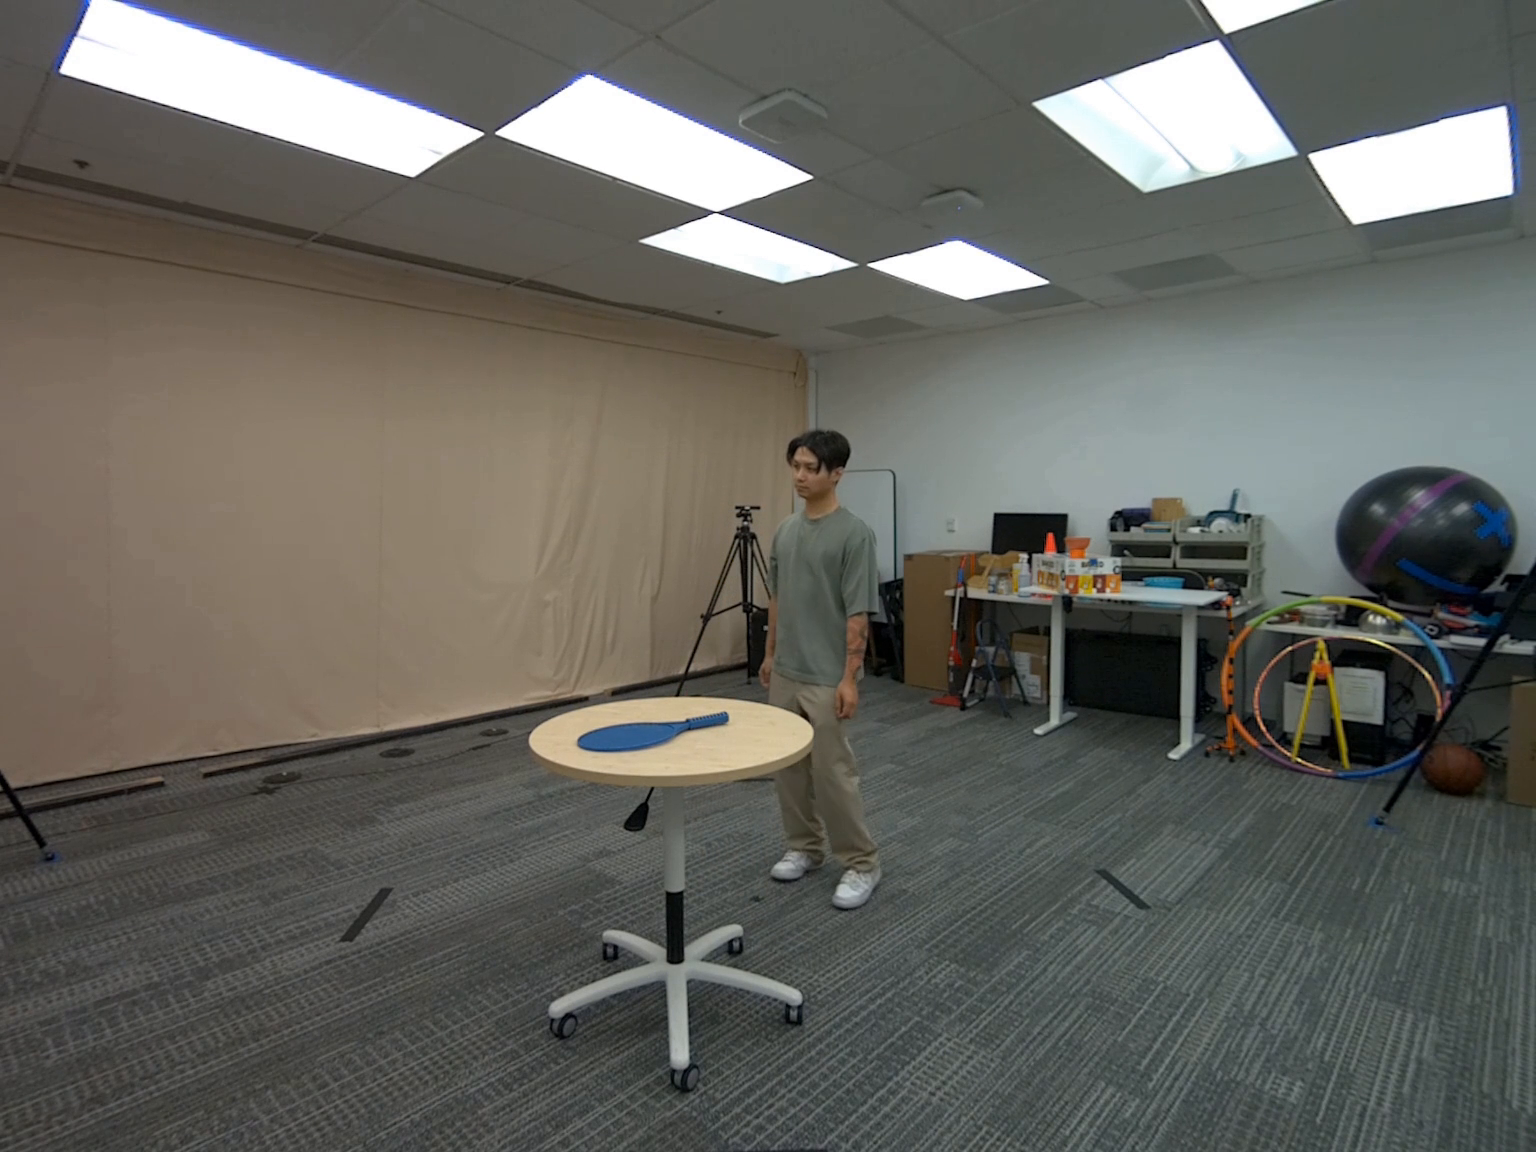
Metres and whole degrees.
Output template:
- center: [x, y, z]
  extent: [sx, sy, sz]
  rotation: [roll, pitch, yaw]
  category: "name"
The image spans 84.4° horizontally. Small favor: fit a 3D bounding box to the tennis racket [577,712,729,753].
- center: [-0.288, 0.410, 2.250]
  extent: [0.422, 0.031, 0.220]
  rotation: [-5, 8, -28]
  category: "tennis racket"
